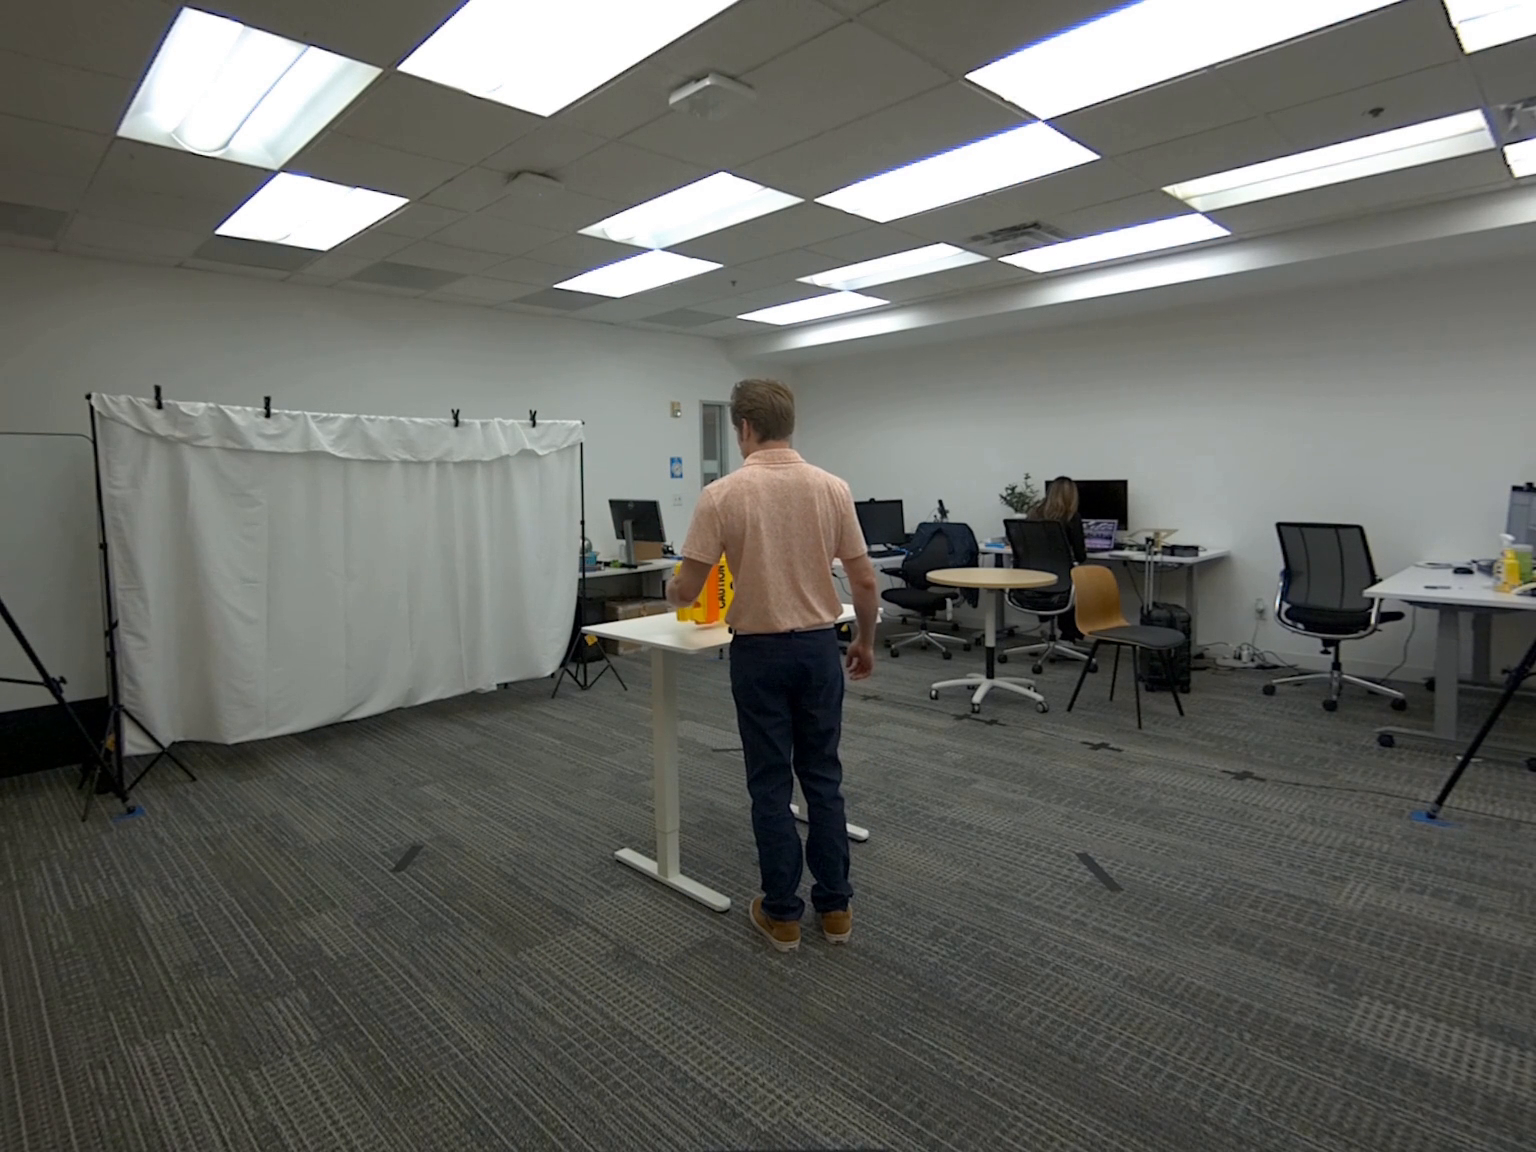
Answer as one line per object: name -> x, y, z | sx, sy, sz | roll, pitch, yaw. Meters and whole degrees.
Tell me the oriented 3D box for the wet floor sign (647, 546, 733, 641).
wet floor sign -> -0.099, 0.027, 3.108 | 0.298, 0.281, 0.630 | 3, 7, 41
